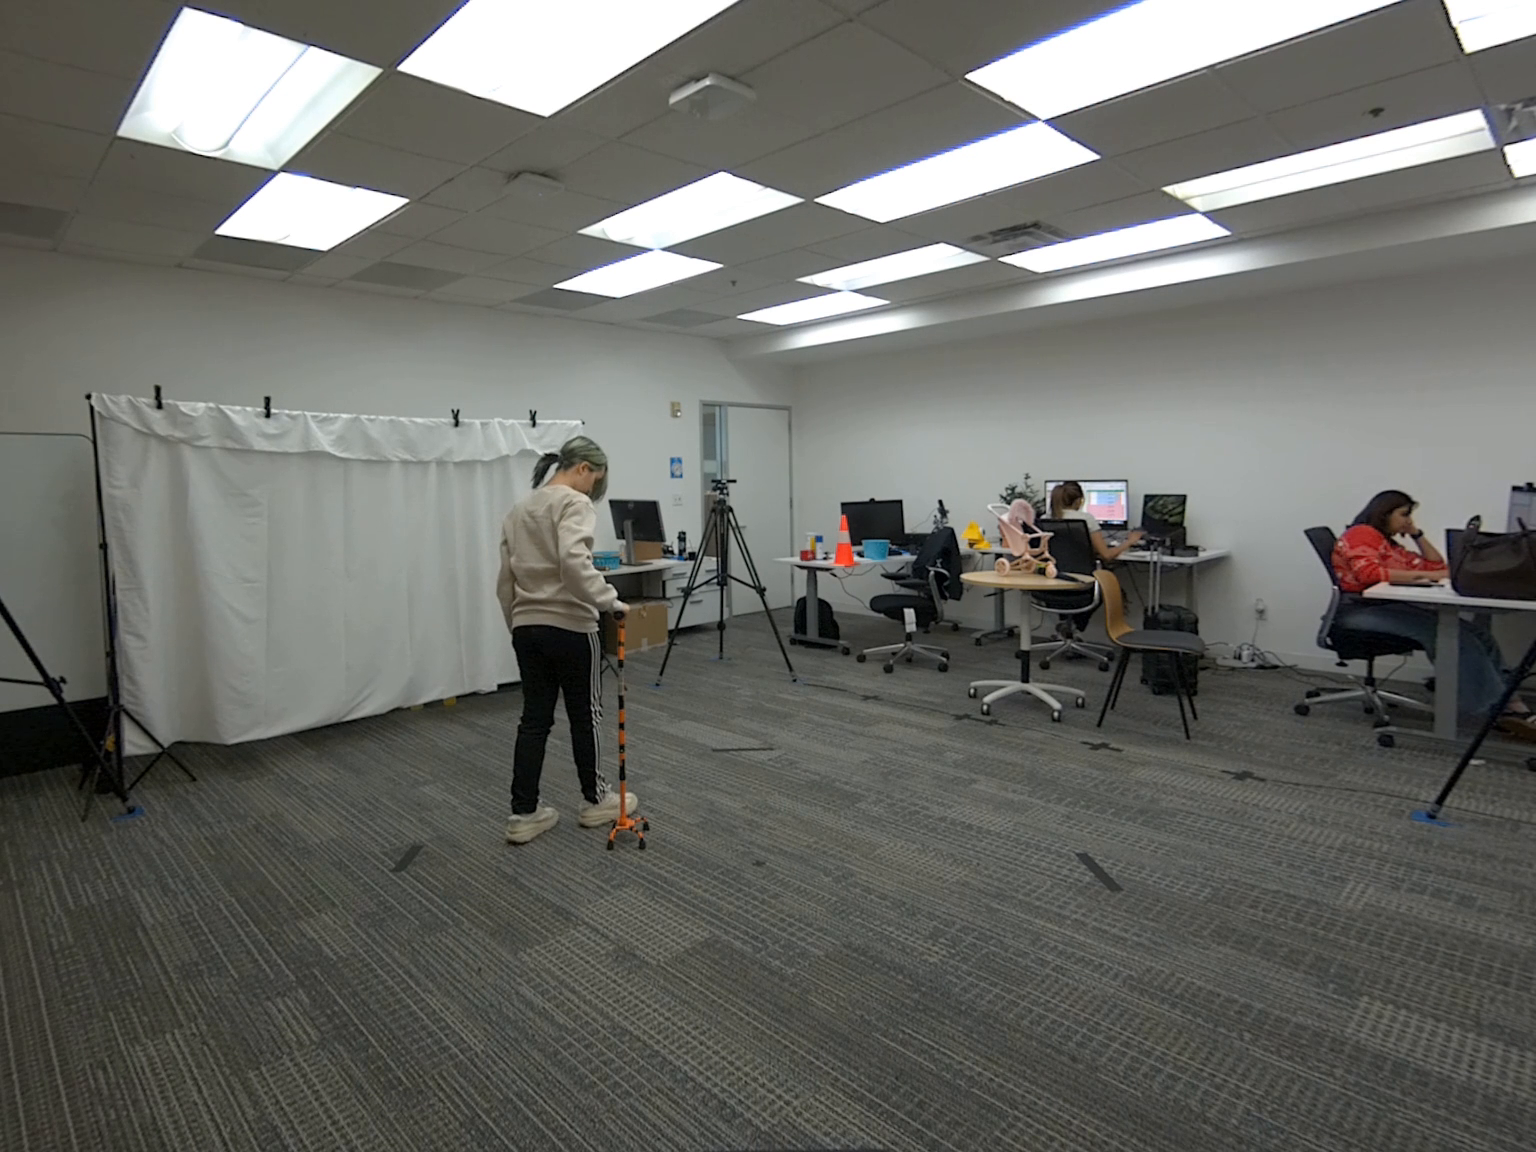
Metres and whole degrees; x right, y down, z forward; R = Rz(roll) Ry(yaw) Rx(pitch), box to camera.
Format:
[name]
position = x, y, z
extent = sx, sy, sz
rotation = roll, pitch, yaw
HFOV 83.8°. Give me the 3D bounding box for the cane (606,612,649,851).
[cane]
position = -0.541, 0.581, 3.314
extent = 0.151, 0.905, 0.207
rotation = 0, 3, -2
